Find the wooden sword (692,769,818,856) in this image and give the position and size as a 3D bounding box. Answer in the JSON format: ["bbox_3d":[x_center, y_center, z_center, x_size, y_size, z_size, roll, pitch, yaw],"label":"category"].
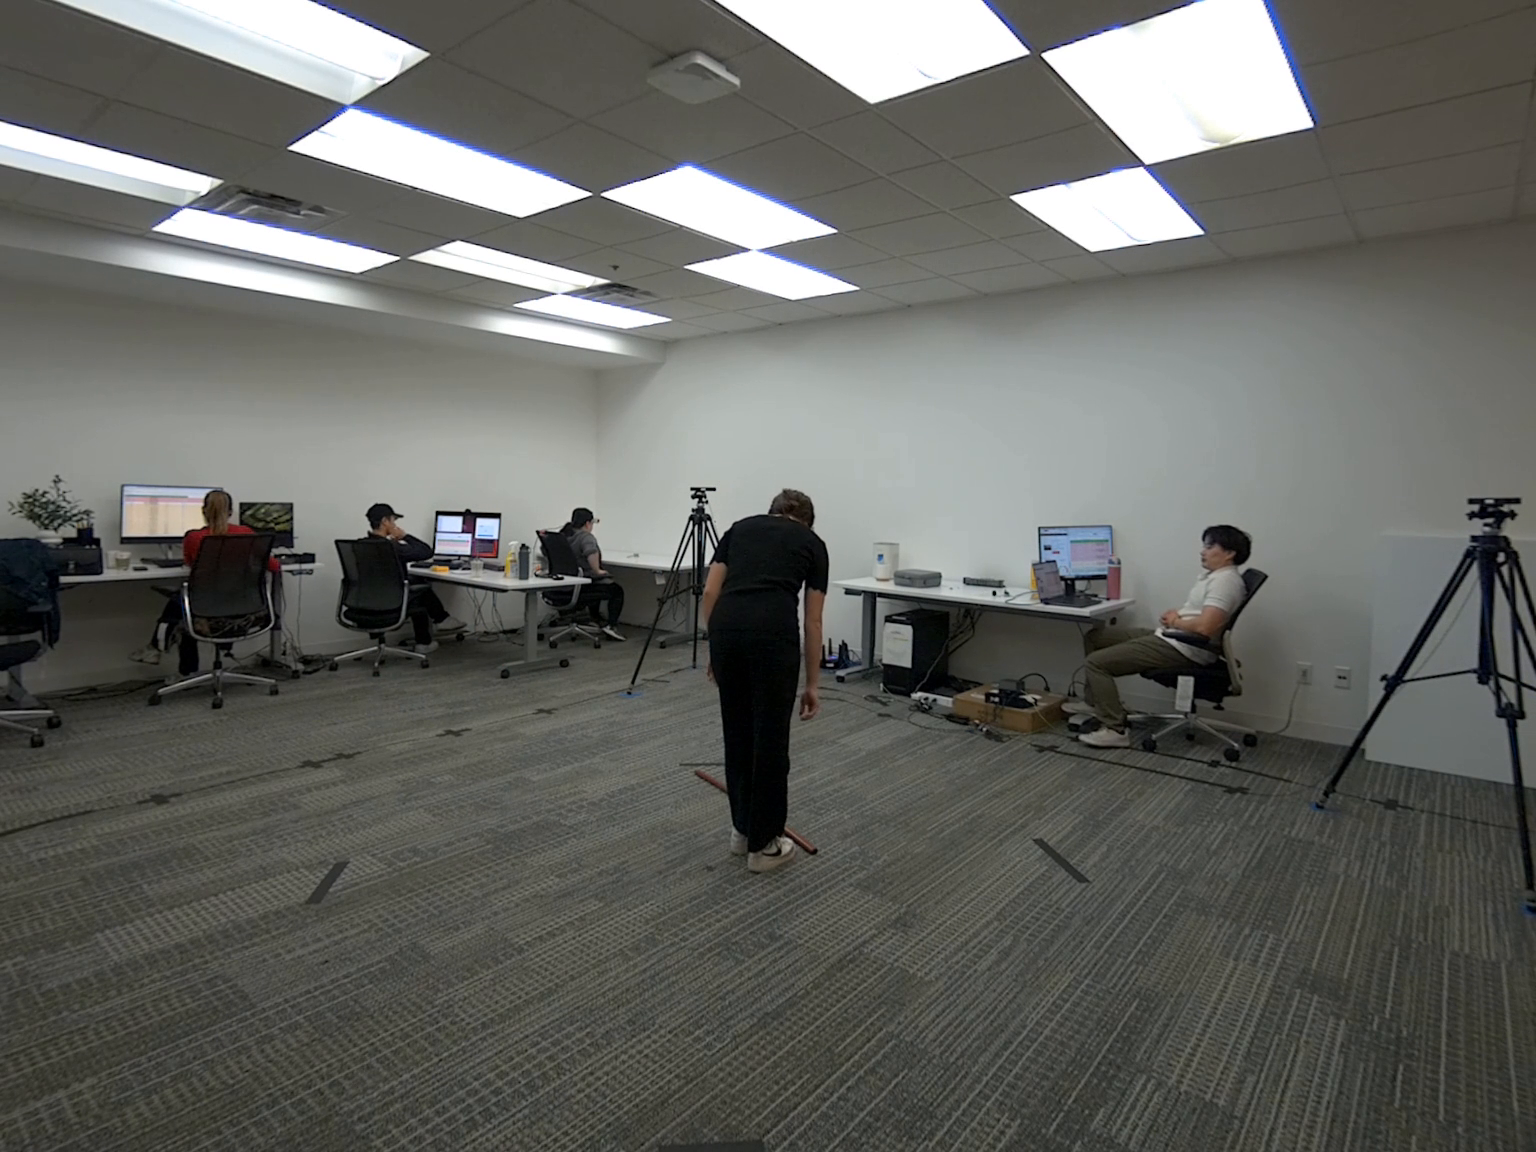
[{"bbox_3d":[-0.096,0.988,3.696,0.050,0.024,1.056,-2,6,-30],"label":"wooden sword"}]
